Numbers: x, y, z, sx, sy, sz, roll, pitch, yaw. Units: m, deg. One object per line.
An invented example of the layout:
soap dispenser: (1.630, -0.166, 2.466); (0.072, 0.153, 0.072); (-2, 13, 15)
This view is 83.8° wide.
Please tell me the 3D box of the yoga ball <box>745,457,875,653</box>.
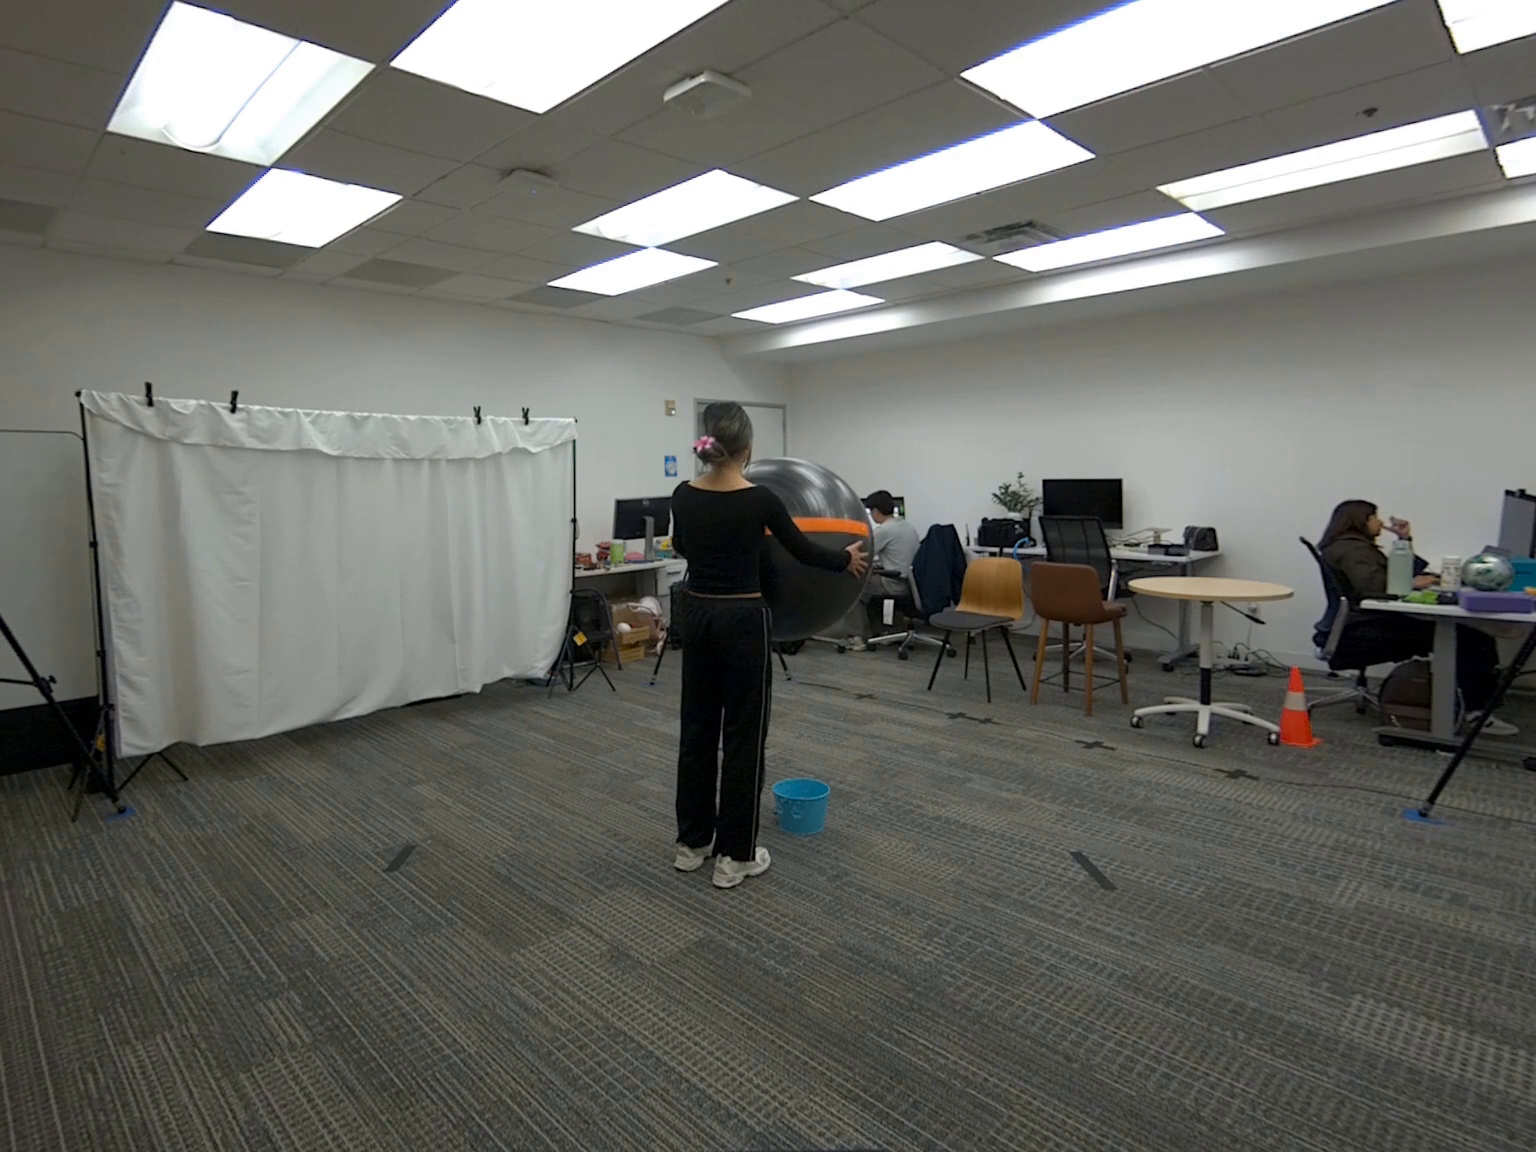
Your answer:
yoga ball: (0.057, -0.102, 3.560); (0.757, 0.755, 0.762); (-1, 5, -2)
